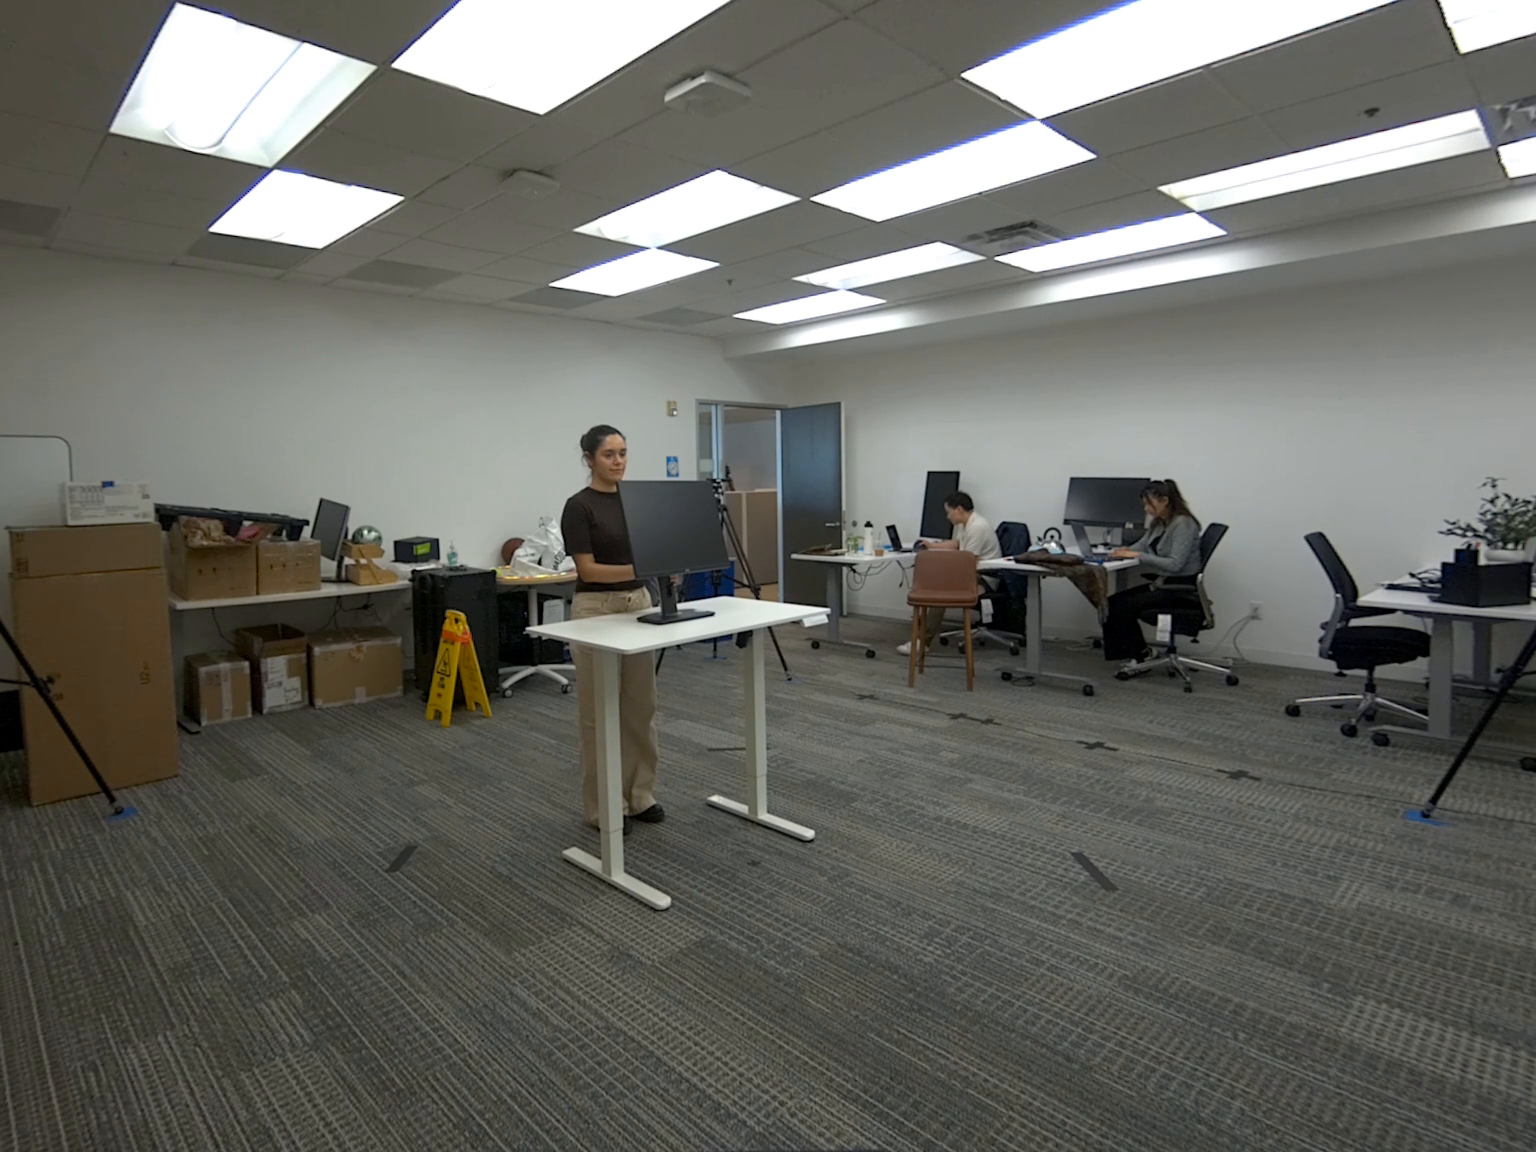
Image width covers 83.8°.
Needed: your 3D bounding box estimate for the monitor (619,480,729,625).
[{"bbox_3d":[-0.355,-0.095,3.183,0.192,0.521,0.526,0,4,33],"label":"monitor"}]
